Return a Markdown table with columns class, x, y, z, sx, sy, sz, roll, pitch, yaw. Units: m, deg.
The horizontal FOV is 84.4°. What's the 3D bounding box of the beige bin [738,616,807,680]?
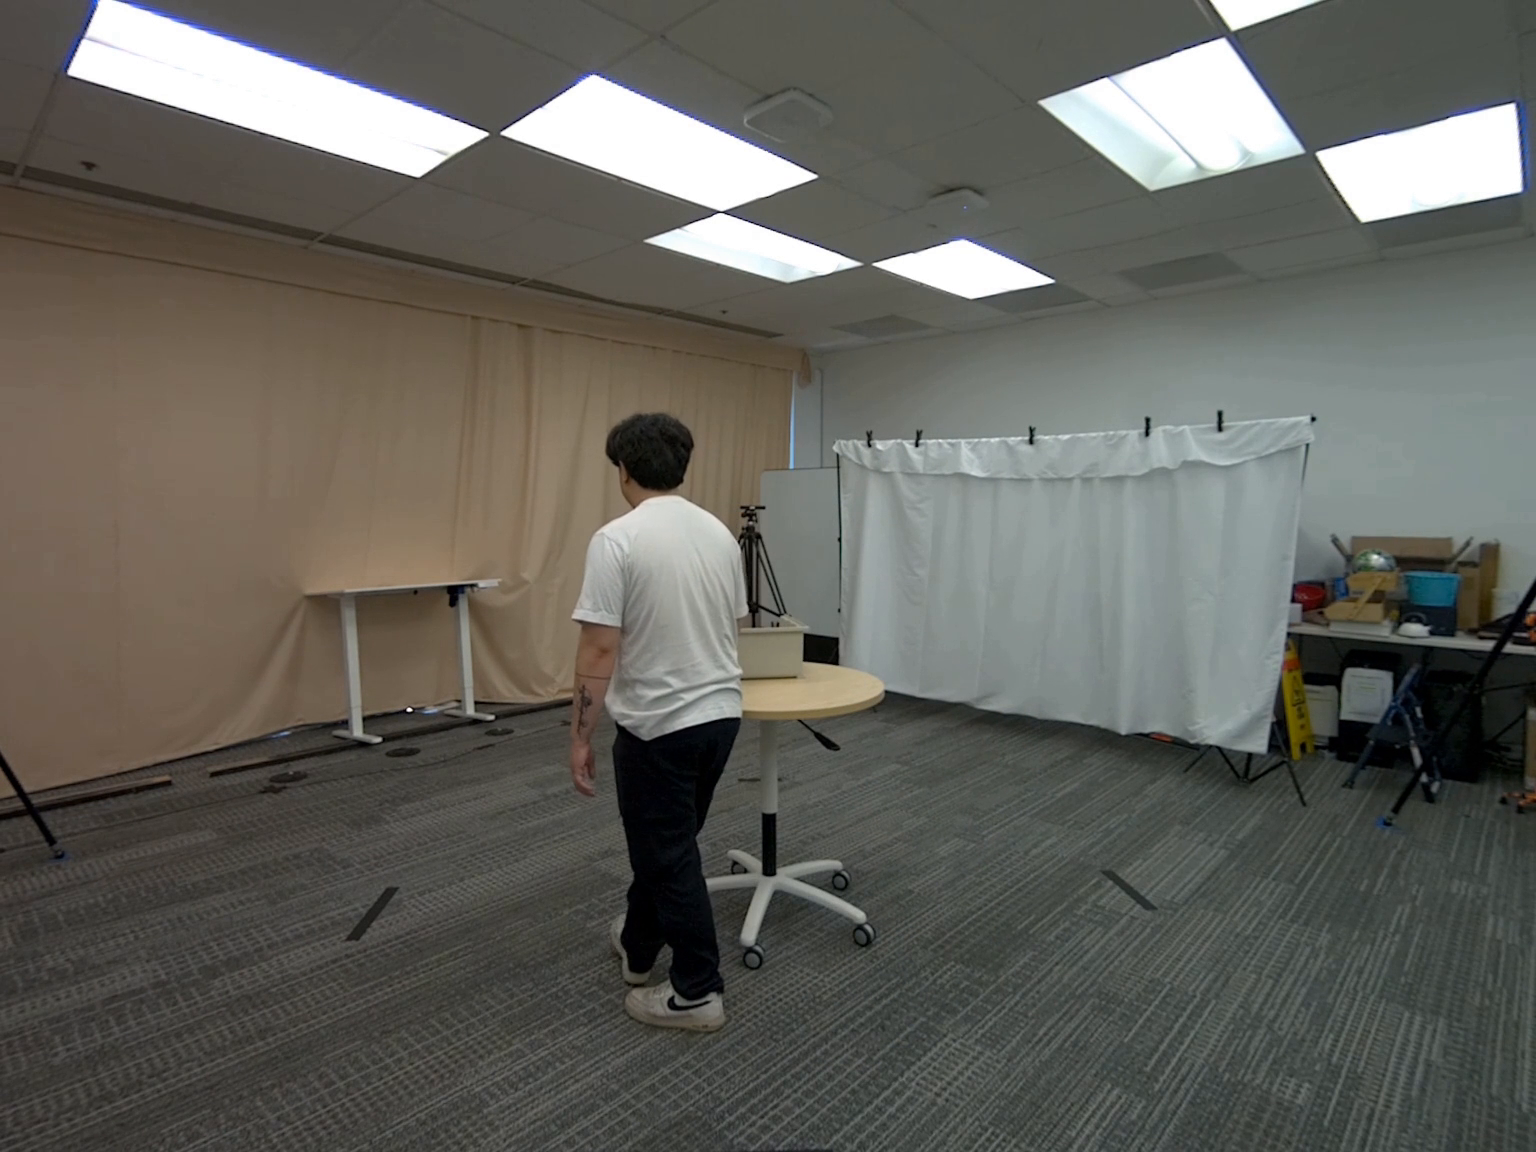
| class | x | y | z | sx | sy | sz | roll | pitch | yaw |
| --- | --- | --- | --- | --- | --- | --- | --- | --- | --- |
| beige bin | -0.105 | 0.254 | 3.030 | 0.417 | 0.188 | 0.383 | -1 | 6 | -12 |
